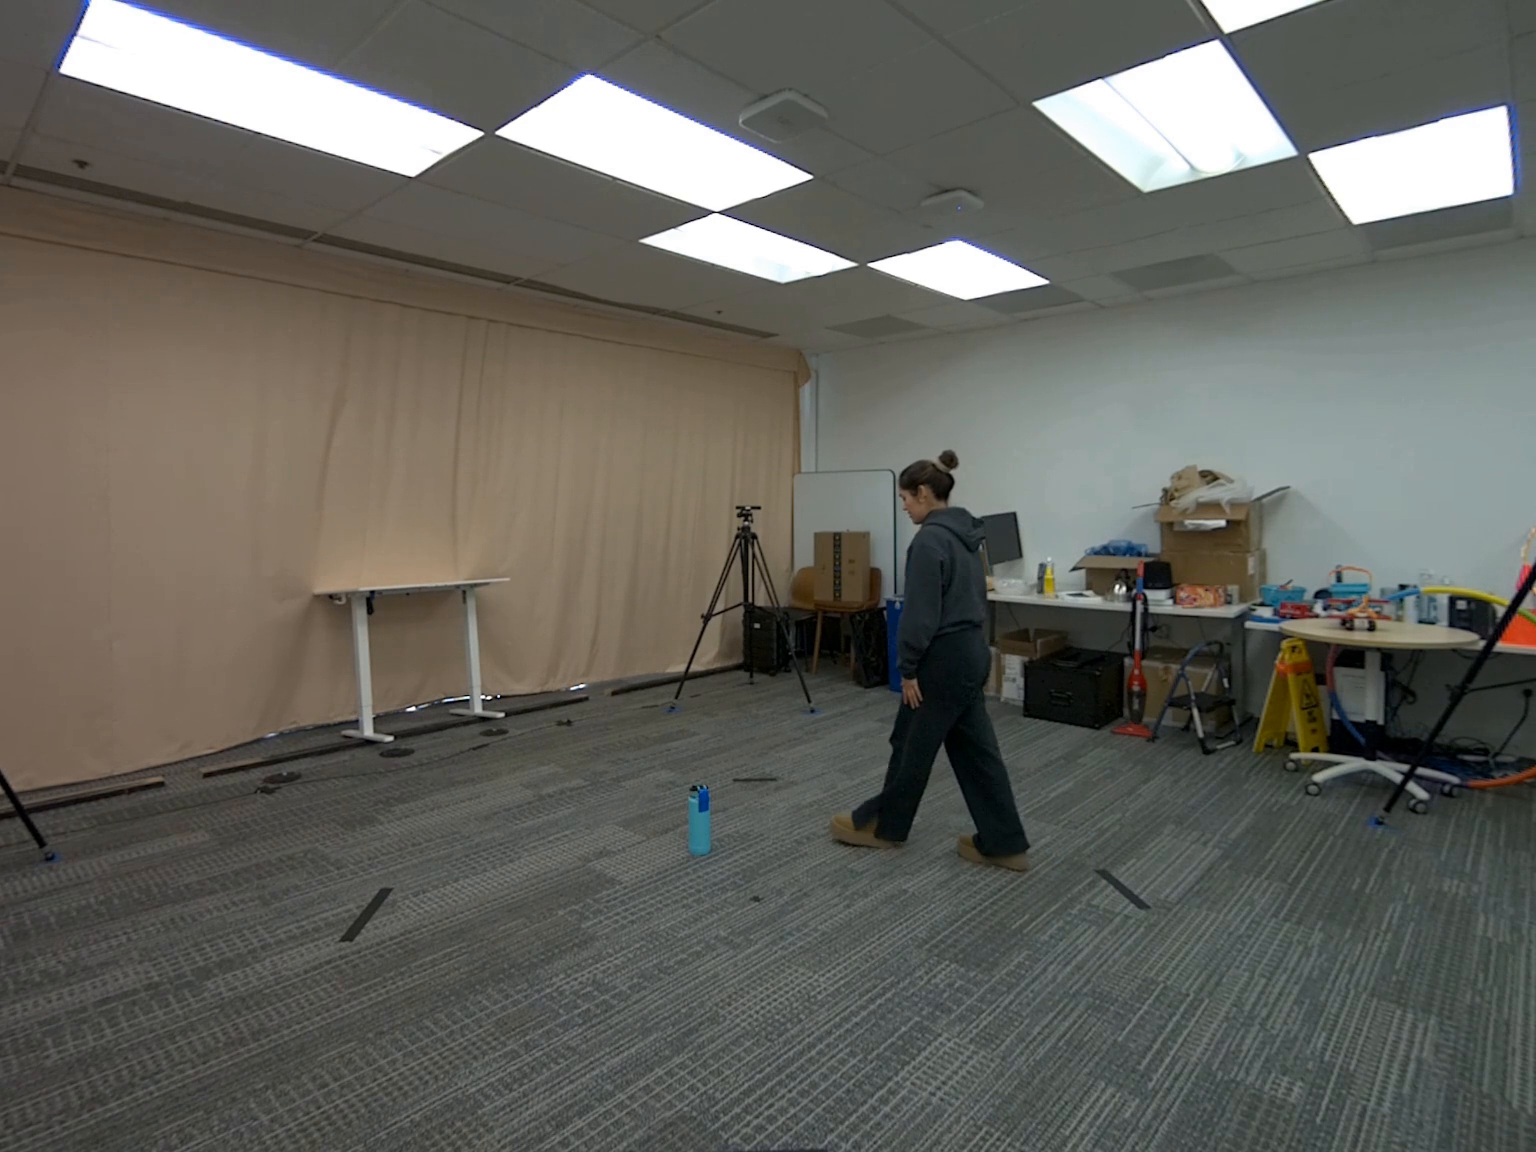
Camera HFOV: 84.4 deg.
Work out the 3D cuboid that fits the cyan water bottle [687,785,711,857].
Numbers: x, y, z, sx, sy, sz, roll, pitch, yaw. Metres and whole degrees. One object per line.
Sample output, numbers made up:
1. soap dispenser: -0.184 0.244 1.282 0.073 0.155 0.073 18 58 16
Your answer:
1. cyan water bottle: -0.256 0.975 3.396 0.092 0.283 0.092 -1 4 -2
